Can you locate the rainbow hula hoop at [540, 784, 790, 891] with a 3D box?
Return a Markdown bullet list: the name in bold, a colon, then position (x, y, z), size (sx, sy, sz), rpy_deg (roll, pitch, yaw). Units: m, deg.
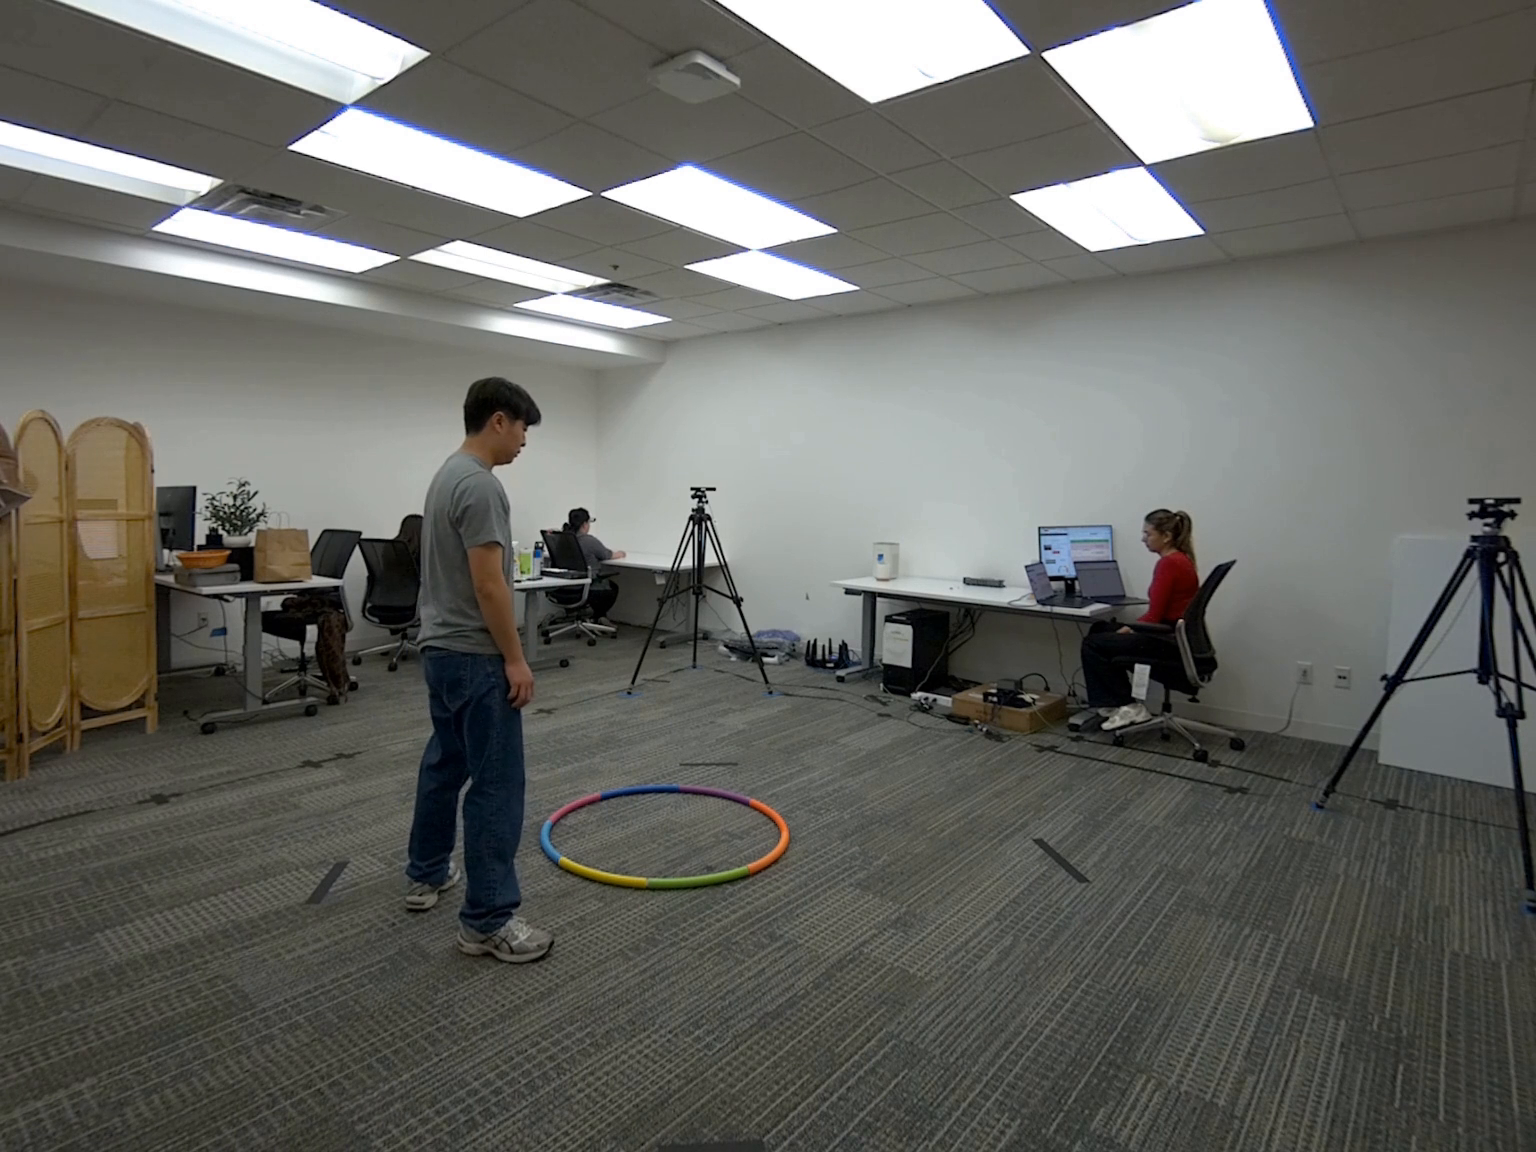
- **rainbow hula hoop**: position (-0.417, 1.003, 3.404), size (0.978, 0.035, 0.984), rpy_deg (1, 6, -2)
